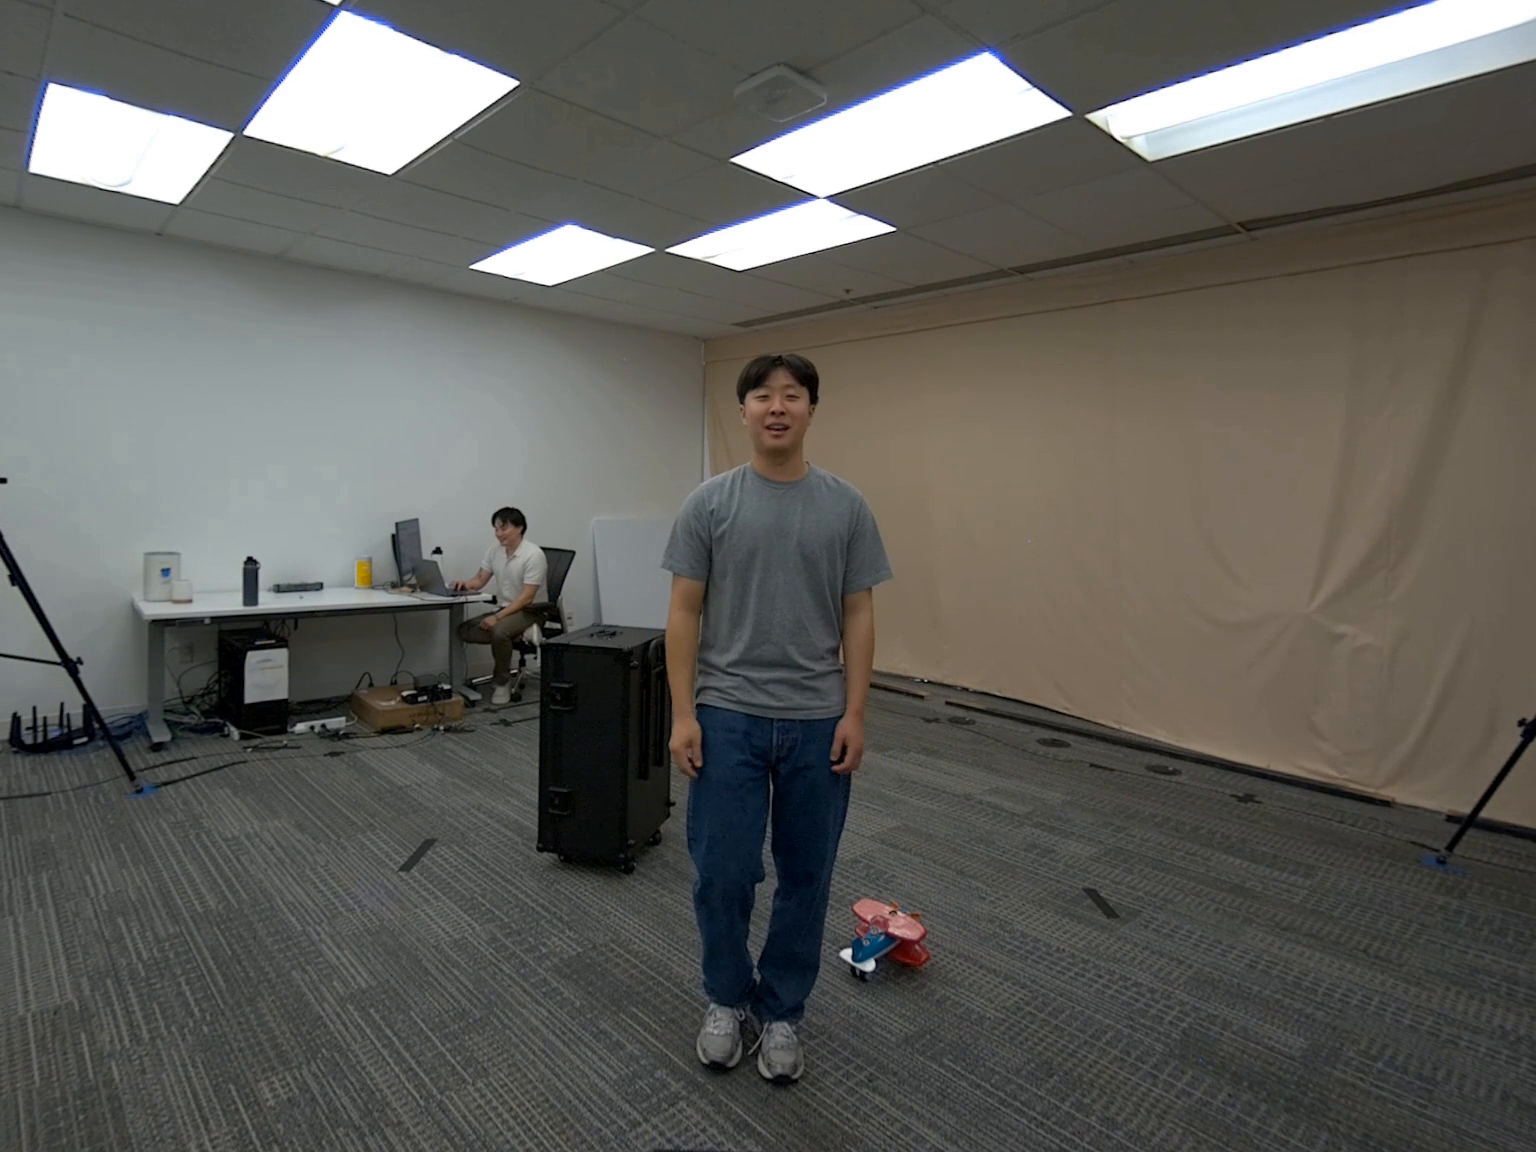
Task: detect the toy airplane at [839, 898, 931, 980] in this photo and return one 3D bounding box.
[{"bbox_3d":[0.348,1.099,2.504,0.255,0.156,0.255,3,4,21],"label":"toy airplane"}]
